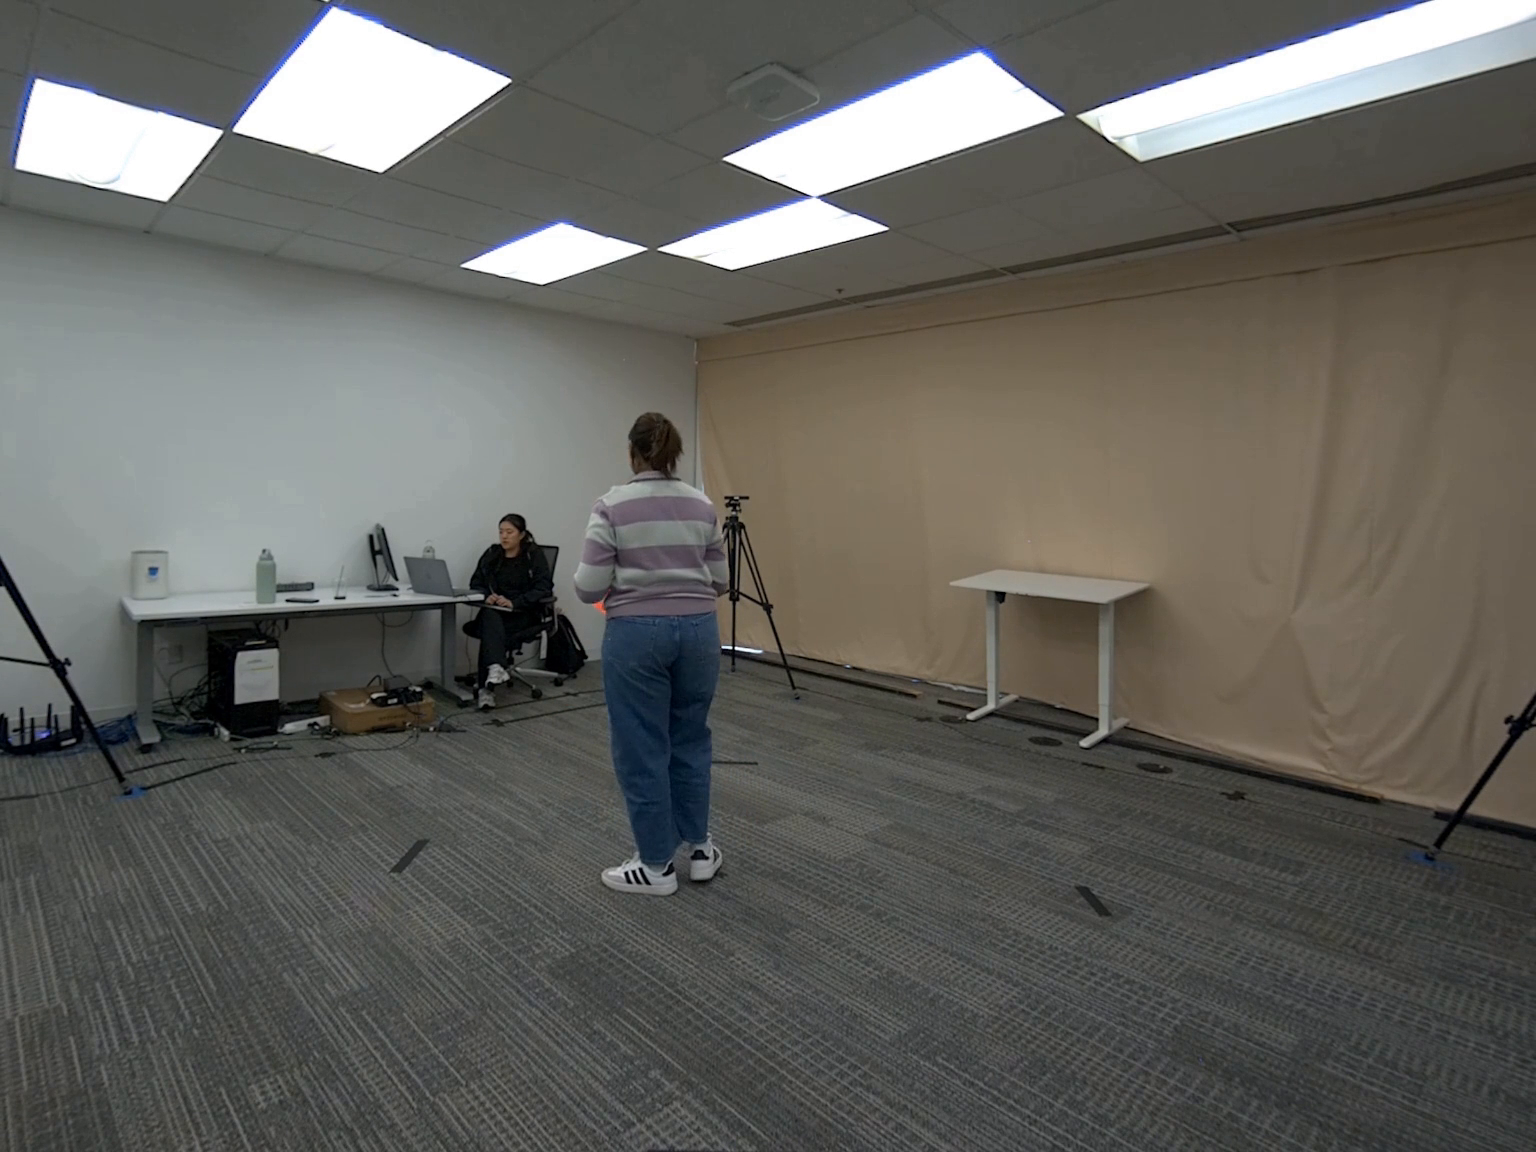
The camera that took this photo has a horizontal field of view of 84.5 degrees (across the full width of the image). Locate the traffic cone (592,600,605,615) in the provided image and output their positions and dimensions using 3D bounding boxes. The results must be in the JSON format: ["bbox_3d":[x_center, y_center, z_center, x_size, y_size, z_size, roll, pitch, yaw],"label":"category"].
[{"bbox_3d":[-0.528,-0.054,3.170,0.200,0.381,0.209,-3,12,-41],"label":"traffic cone"}]
